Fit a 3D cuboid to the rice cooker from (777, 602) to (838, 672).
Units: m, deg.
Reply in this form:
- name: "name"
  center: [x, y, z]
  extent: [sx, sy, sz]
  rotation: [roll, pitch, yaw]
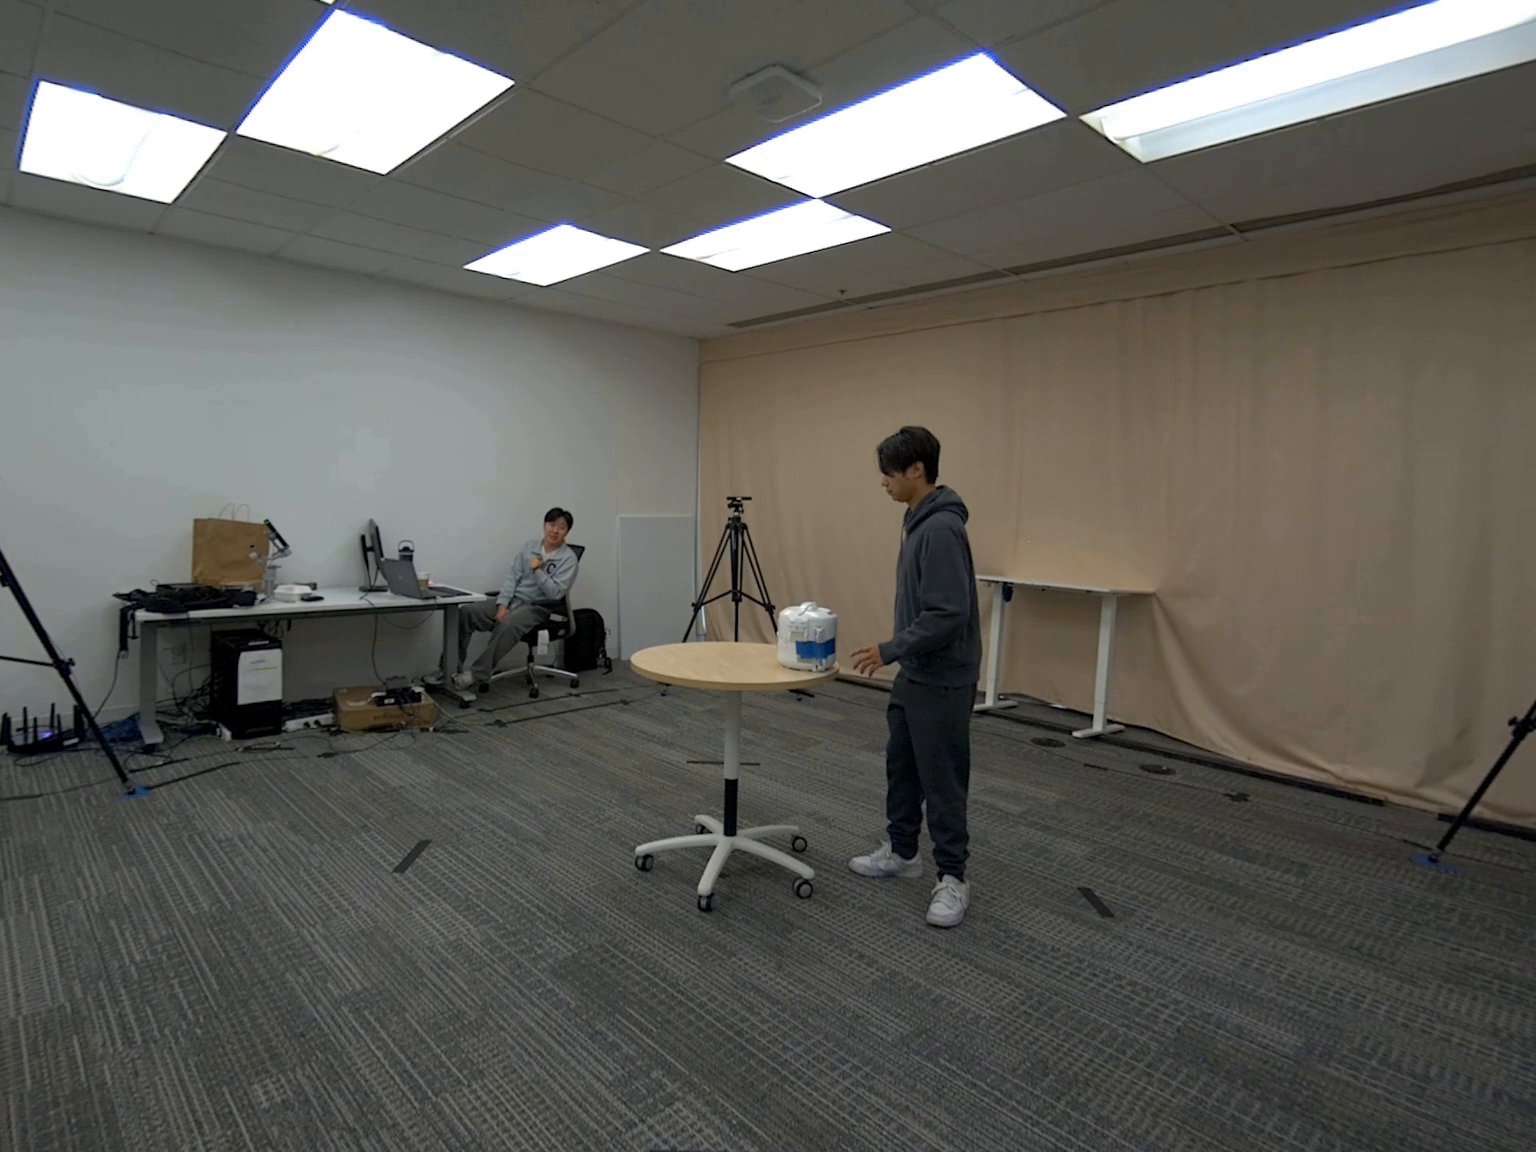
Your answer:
- name: "rice cooker"
  center: [0.138, 0.209, 3.014]
  extent: [0.221, 0.232, 0.217]
  rotation: [5, 5, 24]
